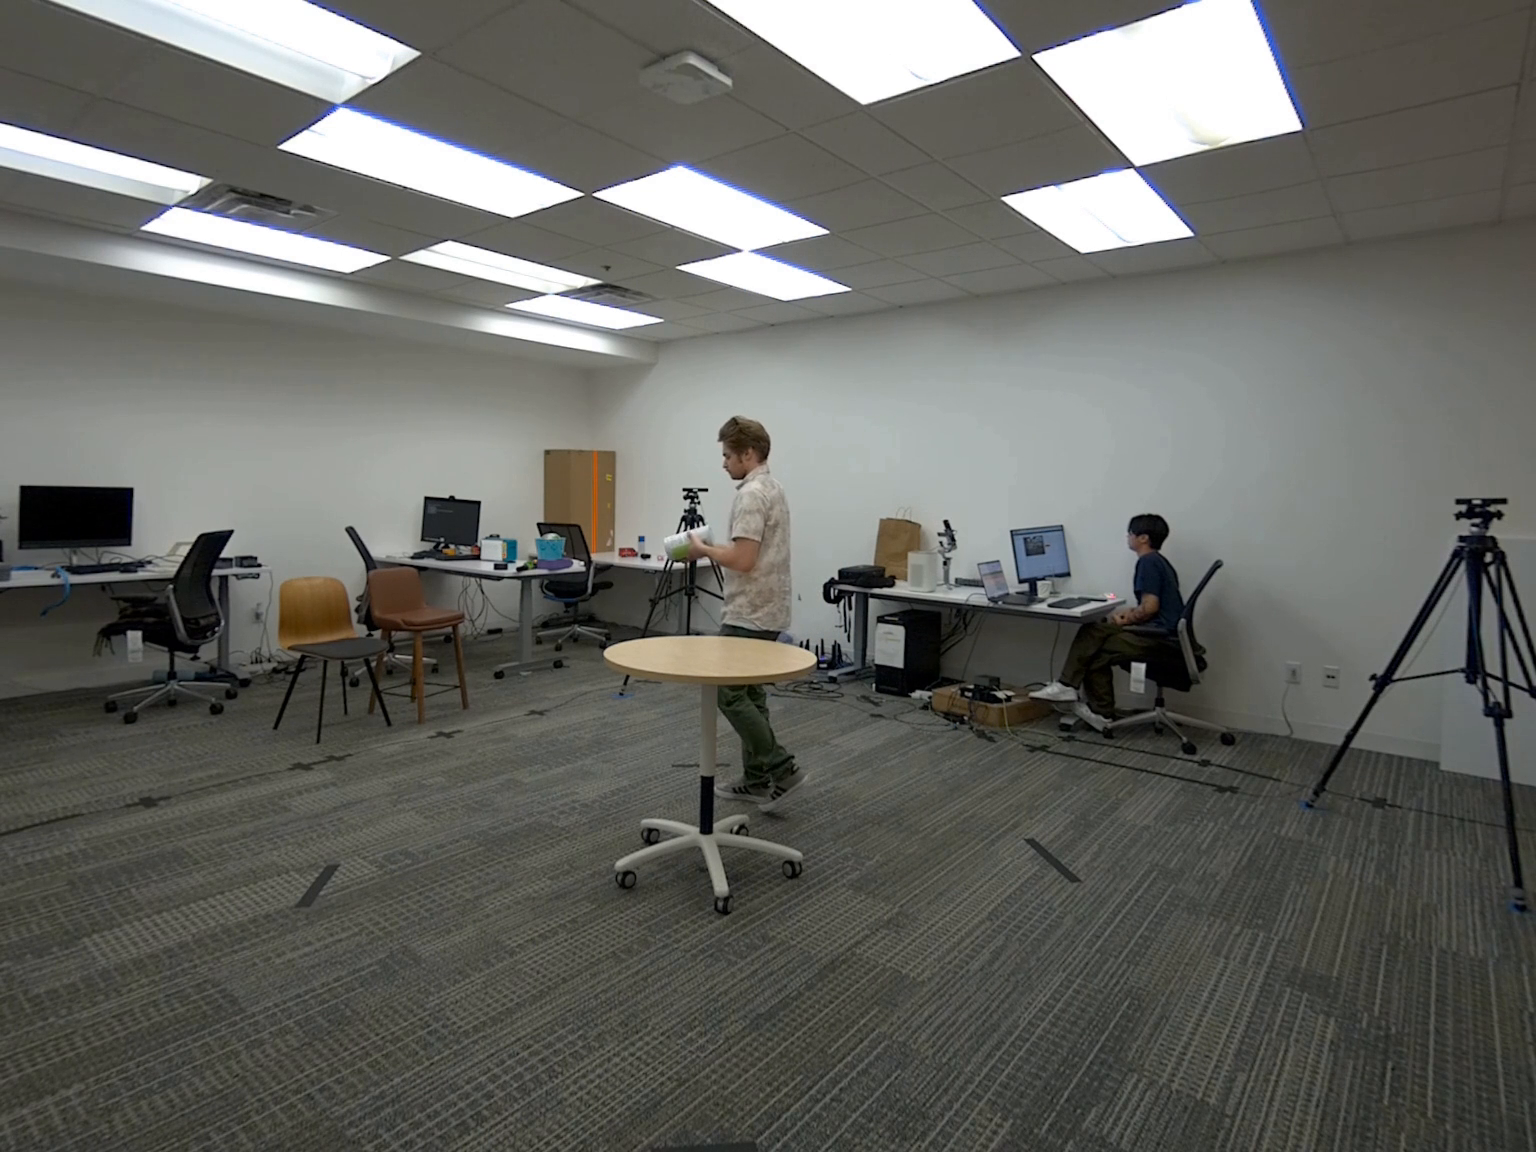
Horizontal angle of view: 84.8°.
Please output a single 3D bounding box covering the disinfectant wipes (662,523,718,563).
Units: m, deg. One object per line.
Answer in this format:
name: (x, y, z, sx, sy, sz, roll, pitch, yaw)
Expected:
disinfectant wipes: (-0.353, -0.153, 3.829, 0.218, 0.117, 0.117, -16, 3, 5)
